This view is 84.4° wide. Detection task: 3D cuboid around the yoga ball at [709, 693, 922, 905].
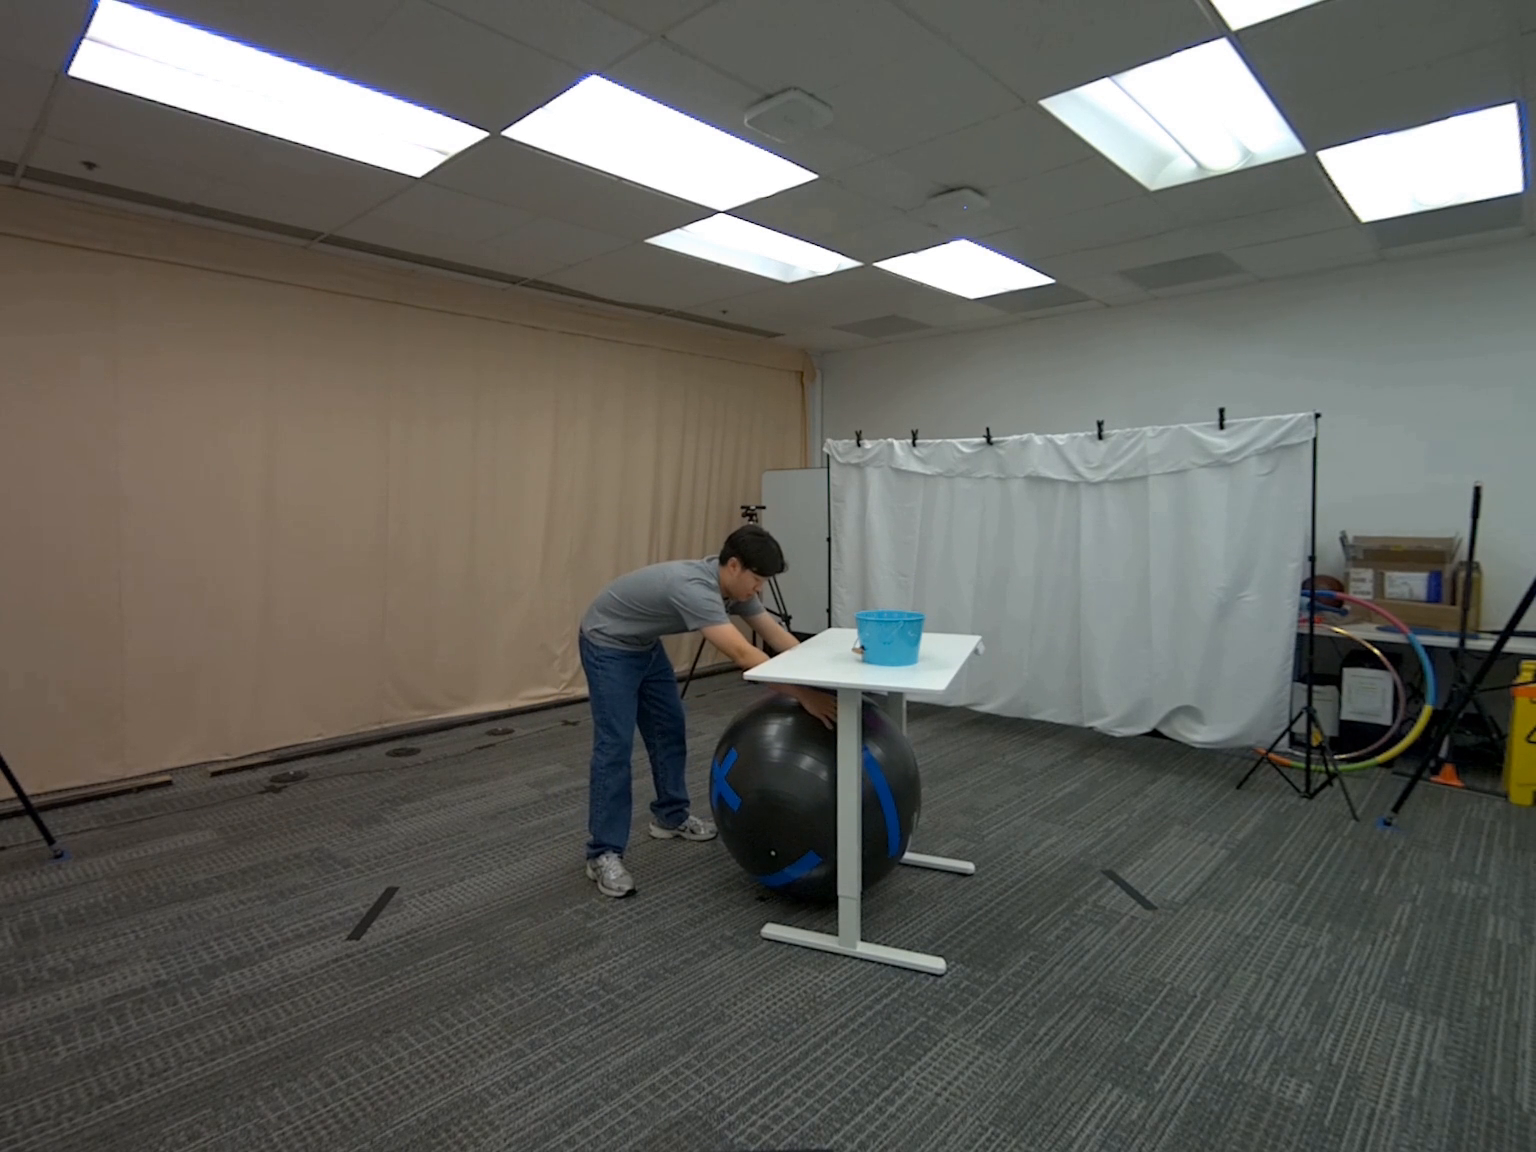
[{"bbox_3d":[0.169,0.769,3.048,0.757,0.756,0.760,0,4,-2],"label":"yoga ball"}]
